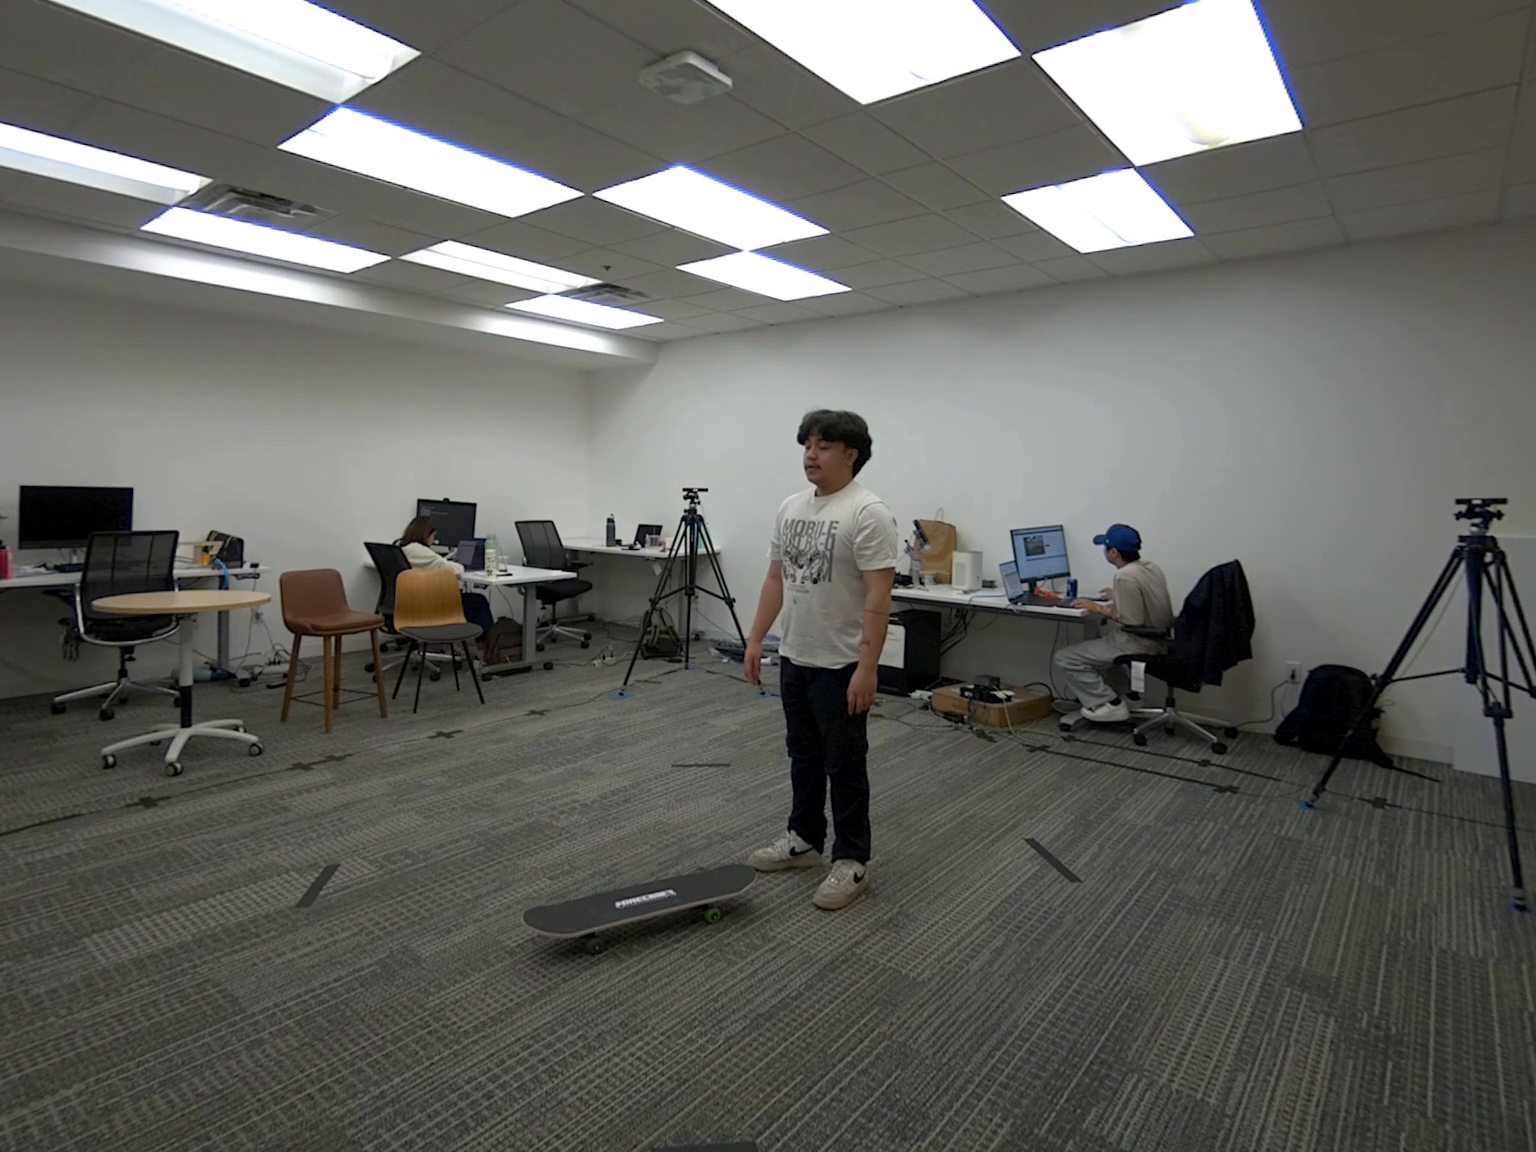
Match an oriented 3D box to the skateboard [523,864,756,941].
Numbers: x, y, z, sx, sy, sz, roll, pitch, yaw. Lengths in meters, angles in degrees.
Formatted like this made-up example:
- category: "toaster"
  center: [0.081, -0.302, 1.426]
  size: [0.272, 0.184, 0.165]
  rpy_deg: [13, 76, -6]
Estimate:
- category: "skateboard"
  center: [-0.392, 1.051, 2.694]
  size: [0.765, 0.110, 0.199]
  rpy_deg: [-2, 6, -29]
